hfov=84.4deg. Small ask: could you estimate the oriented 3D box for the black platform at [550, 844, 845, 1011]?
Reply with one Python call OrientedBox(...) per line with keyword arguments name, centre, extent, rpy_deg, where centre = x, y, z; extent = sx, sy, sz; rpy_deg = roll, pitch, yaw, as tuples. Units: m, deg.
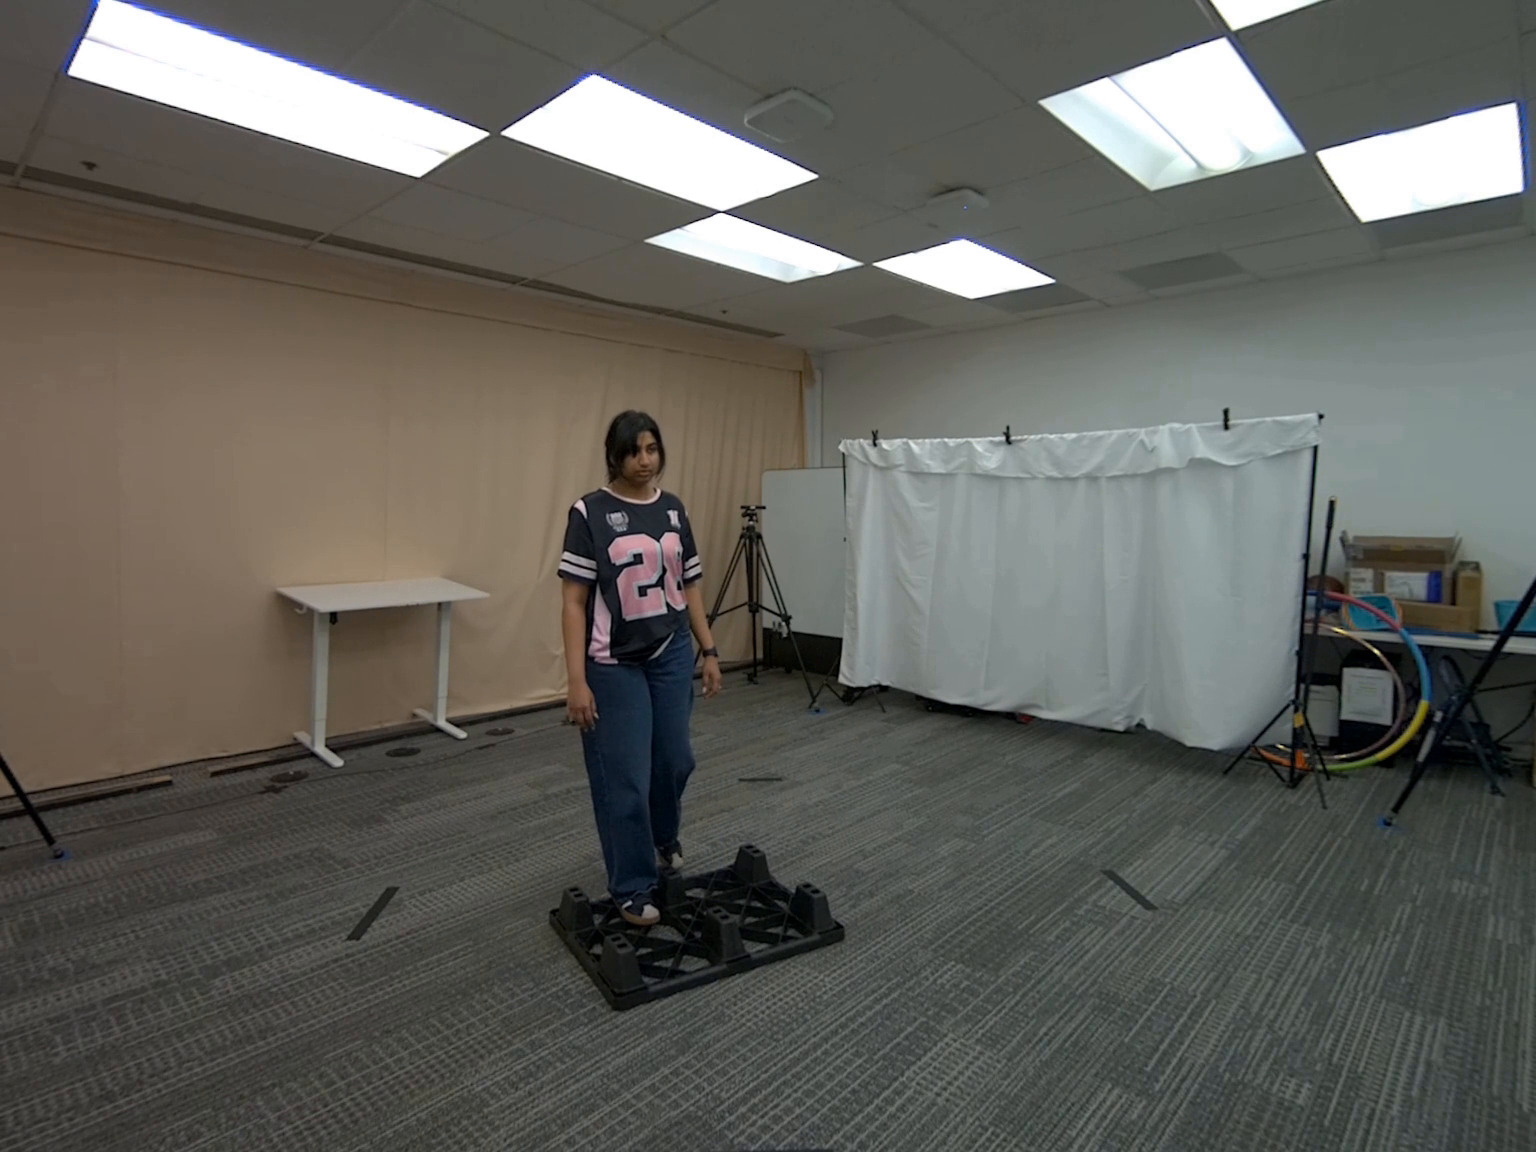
OrientedBox(name="black platform", centre=(-0.237, 1.101, 2.765), extent=(0.784, 0.143, 0.623), rpy_deg=(-3, 6, -31))
